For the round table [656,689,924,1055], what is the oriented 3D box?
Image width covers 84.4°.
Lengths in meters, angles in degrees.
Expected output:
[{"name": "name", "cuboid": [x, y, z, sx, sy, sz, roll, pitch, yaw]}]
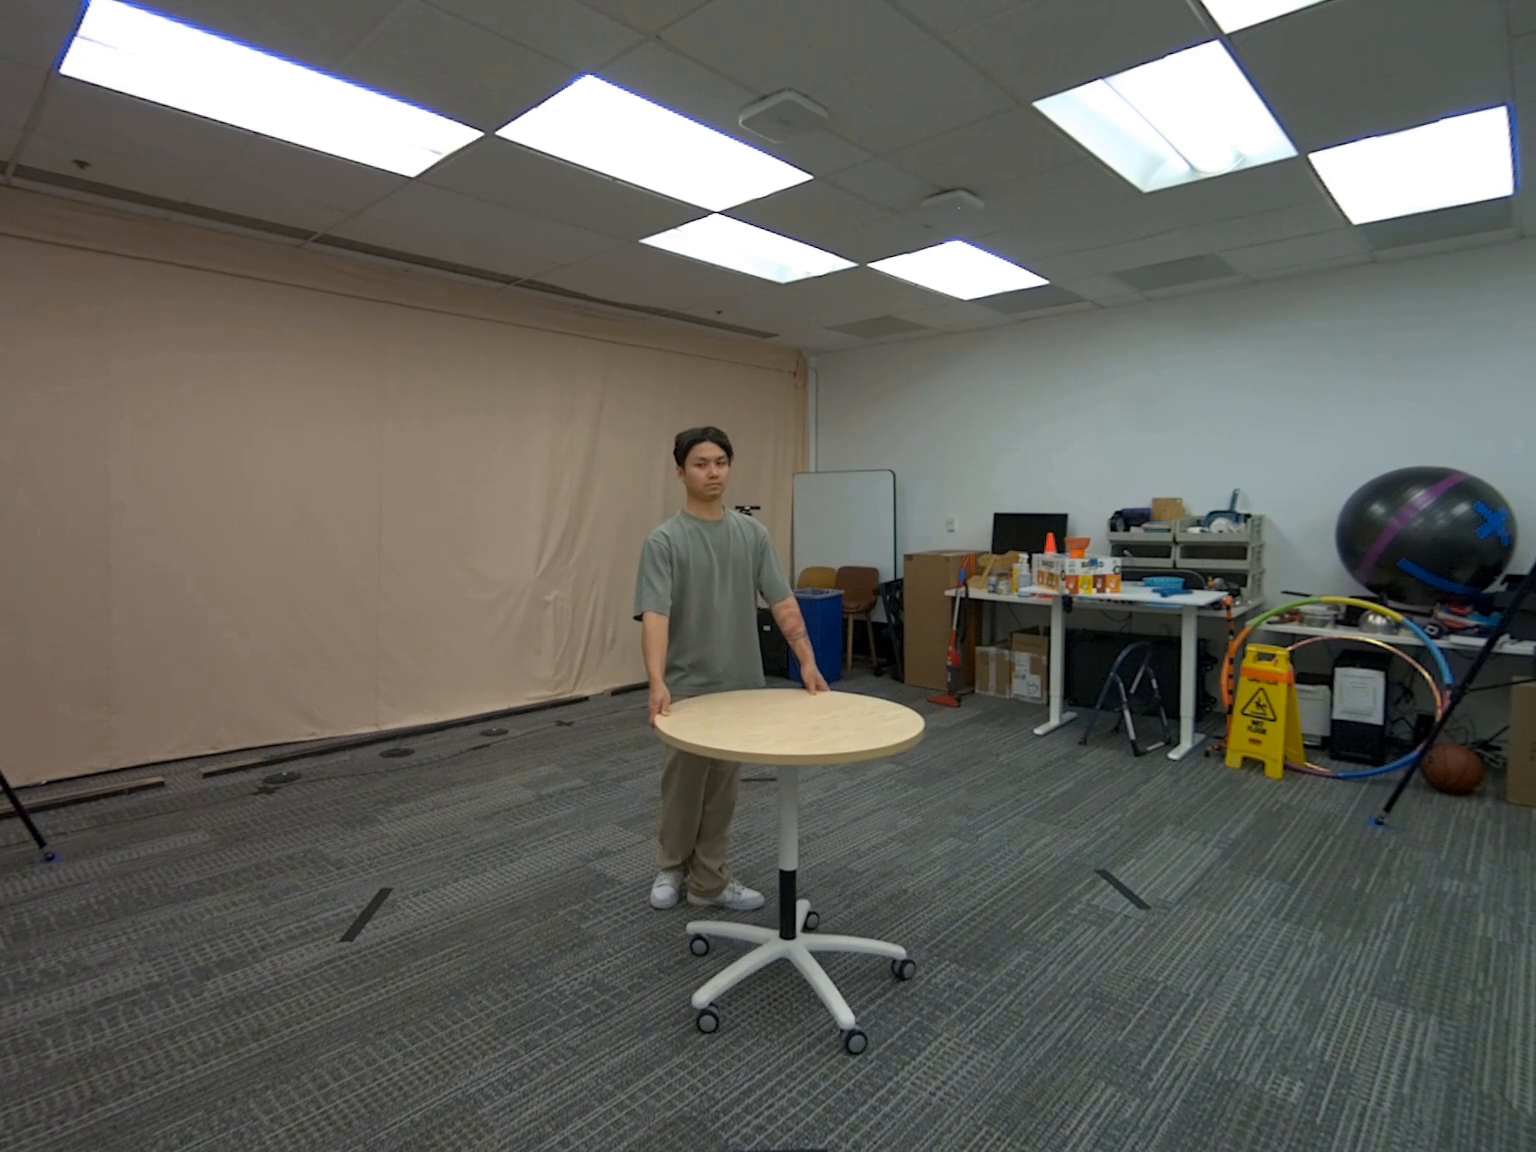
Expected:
[{"name": "round table", "cuboid": [0.069, 0.796, 2.428, 0.784, 0.785, 0.787, 0, 3, -2]}]
